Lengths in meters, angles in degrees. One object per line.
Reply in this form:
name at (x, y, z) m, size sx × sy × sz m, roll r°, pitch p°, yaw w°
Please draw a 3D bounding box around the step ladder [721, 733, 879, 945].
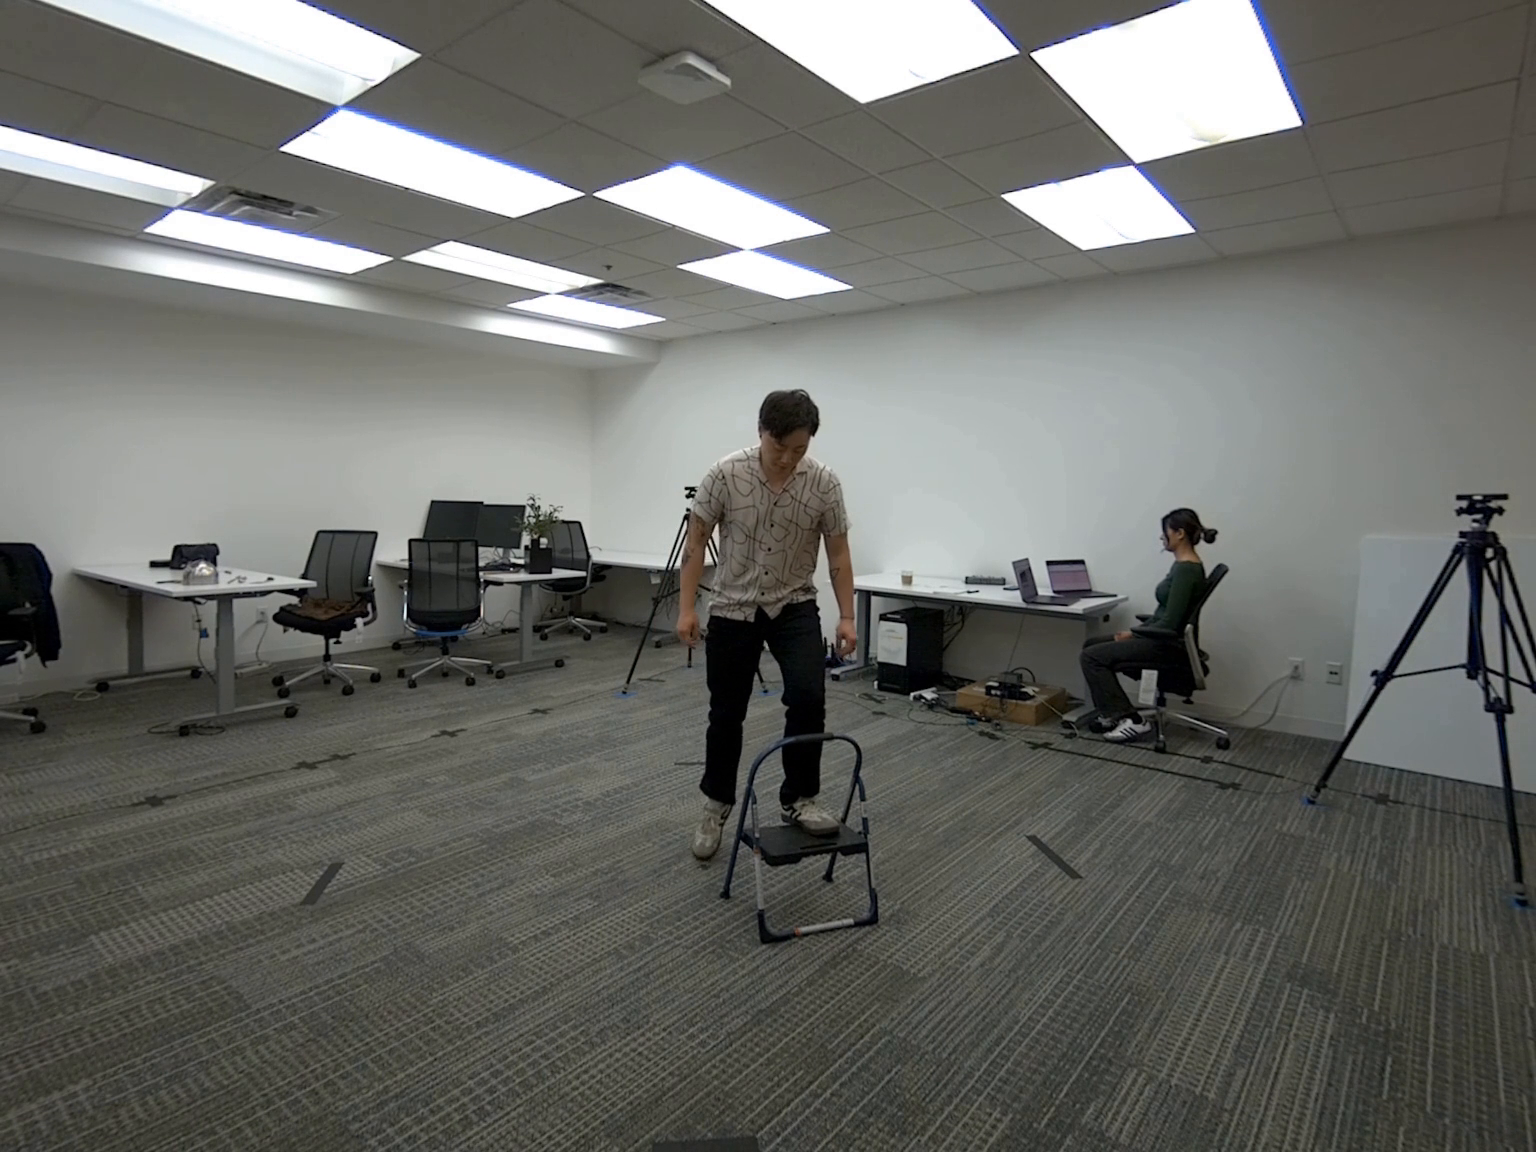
step ladder at (0.100, 0.799, 2.803) m, size 0.421 × 0.604 × 0.358 m, roll 0°, pitch 4°, yaw -24°
